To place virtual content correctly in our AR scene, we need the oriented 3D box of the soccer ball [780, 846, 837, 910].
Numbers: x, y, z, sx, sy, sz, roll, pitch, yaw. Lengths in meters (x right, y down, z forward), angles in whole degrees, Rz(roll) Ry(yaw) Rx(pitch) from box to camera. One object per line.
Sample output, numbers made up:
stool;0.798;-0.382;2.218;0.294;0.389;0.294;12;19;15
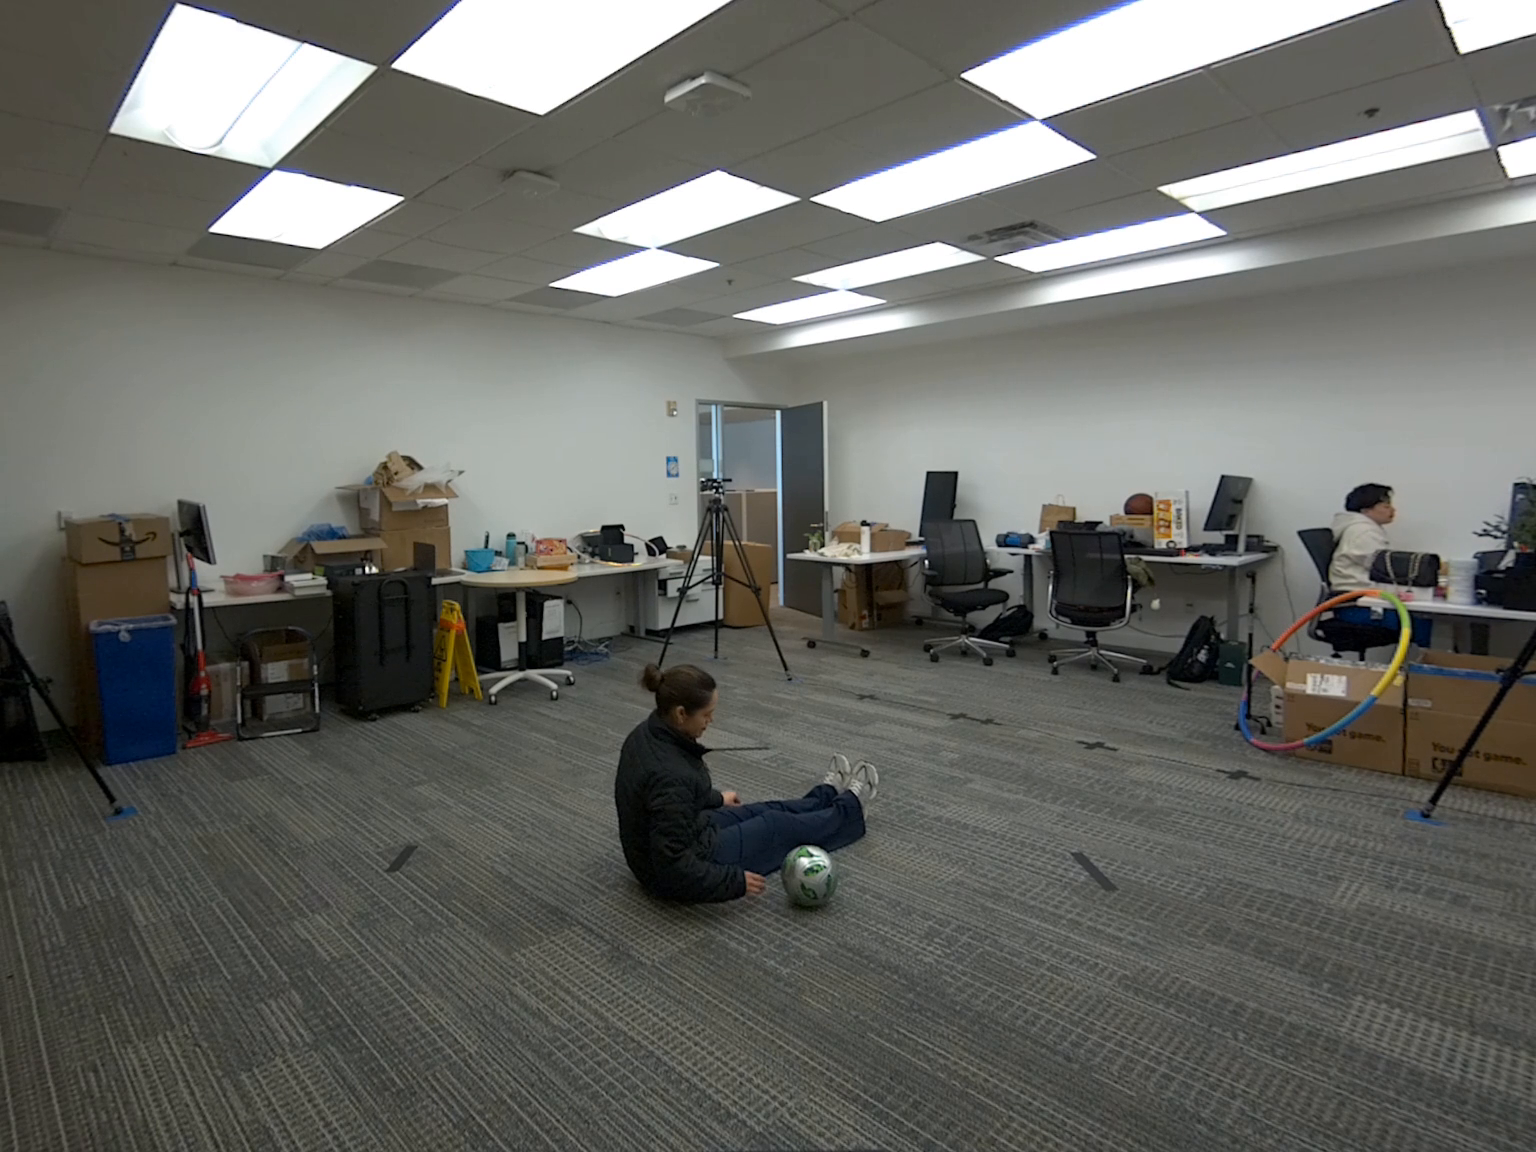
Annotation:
soccer ball;0.137;0.978;2.796;0.187;0.187;0.188;-1;5;-2
